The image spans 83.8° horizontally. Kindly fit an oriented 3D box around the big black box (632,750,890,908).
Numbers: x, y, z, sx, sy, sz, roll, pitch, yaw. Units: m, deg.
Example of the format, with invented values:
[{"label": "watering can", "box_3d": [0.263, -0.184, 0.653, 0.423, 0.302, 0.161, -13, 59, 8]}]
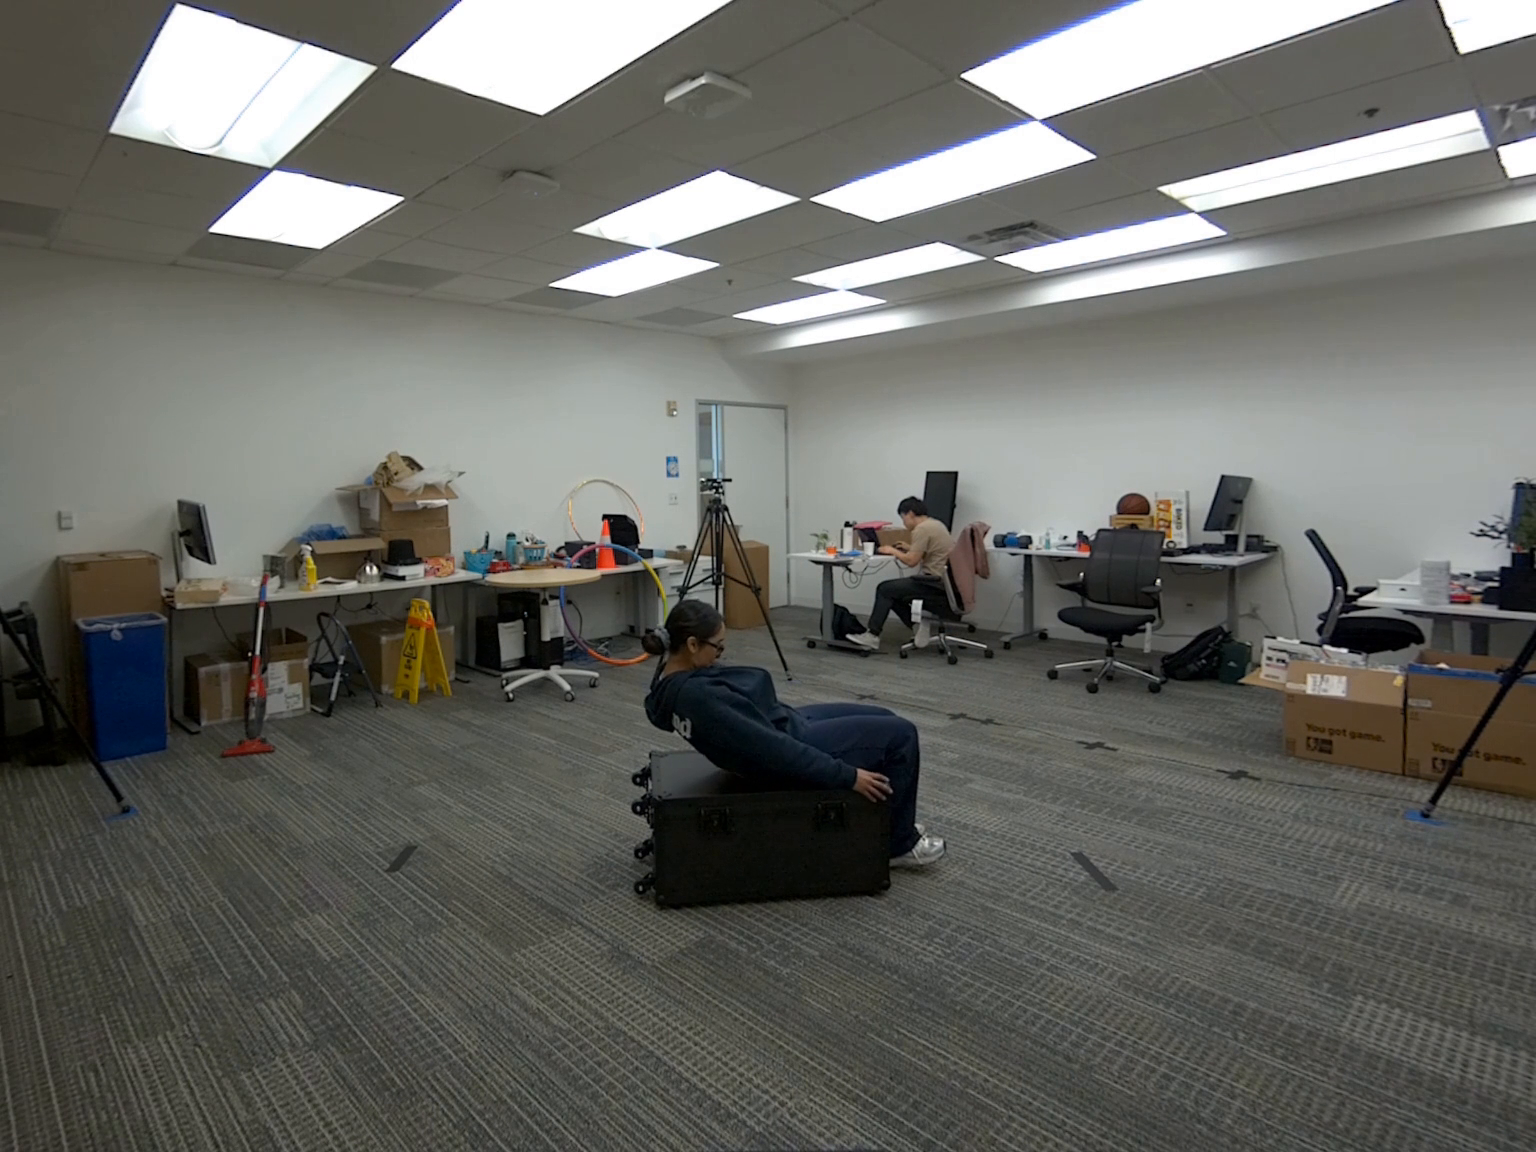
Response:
[{"label": "big black box", "box_3d": [-0.057, 0.862, 3.029, 0.856, 0.394, 0.527, -1, 6, -7]}]
